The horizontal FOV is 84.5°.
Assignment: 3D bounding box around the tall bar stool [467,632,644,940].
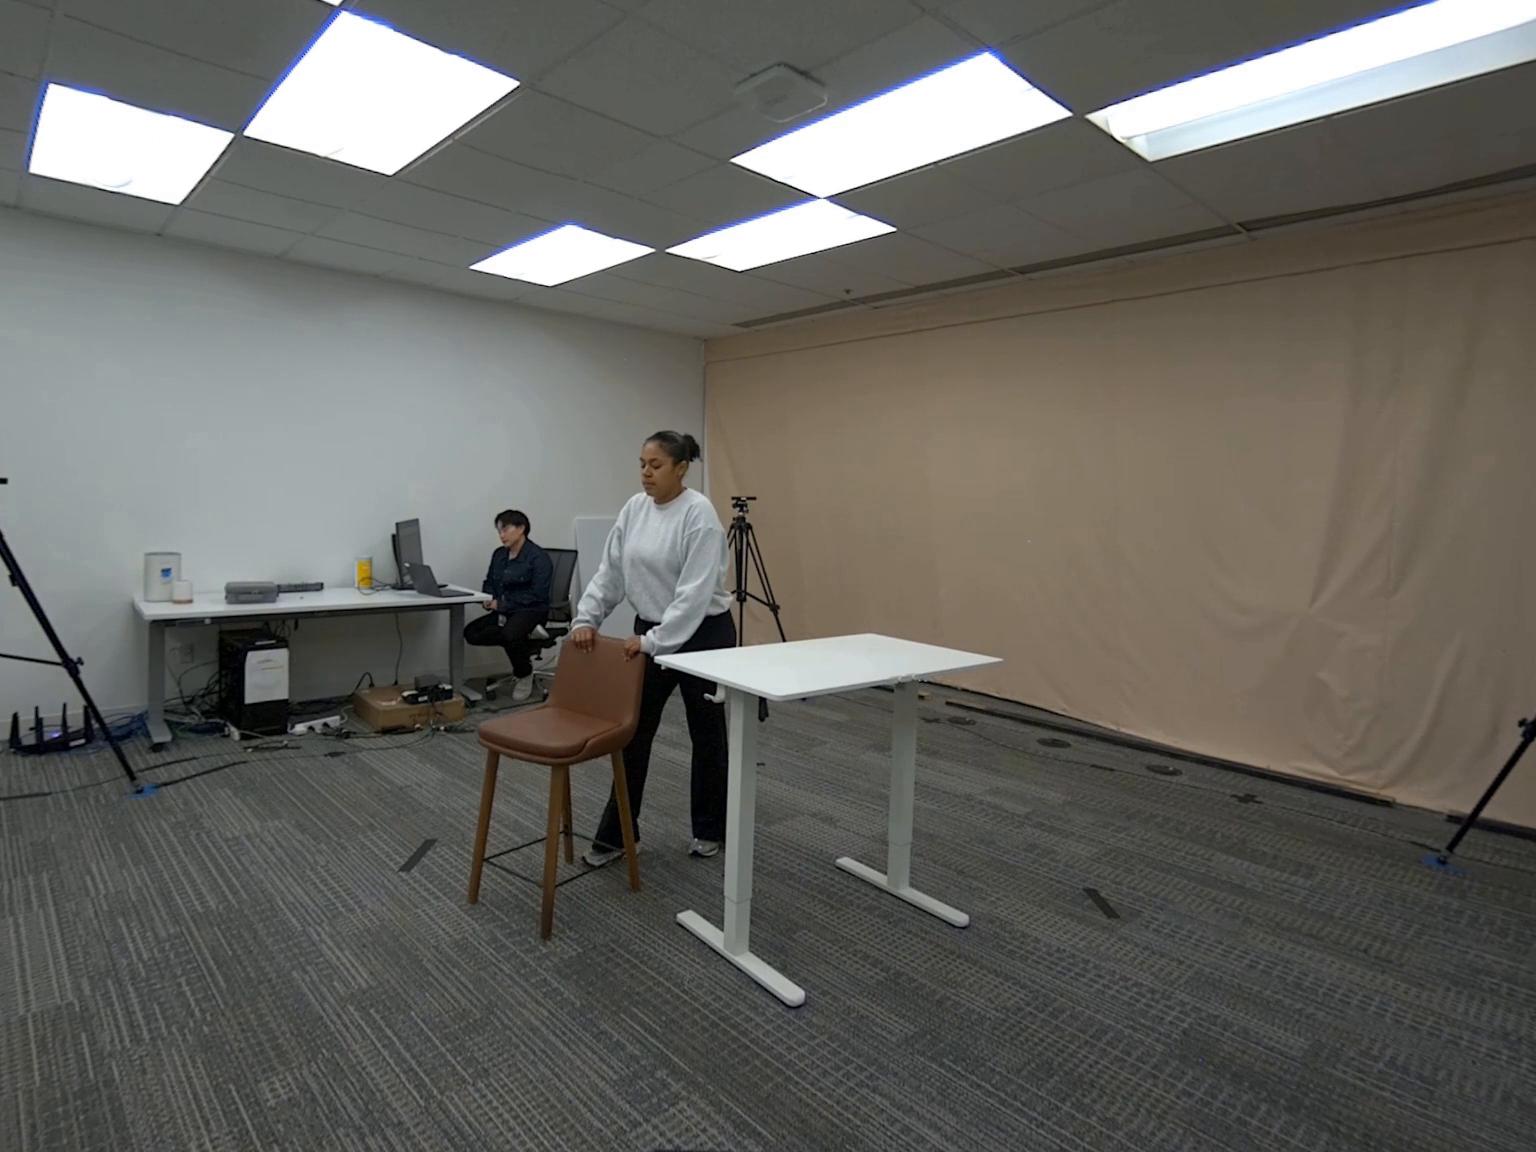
[{"bbox_3d":[-0.715,0.678,2.900,0.467,0.889,0.457,4,2,37],"label":"tall bar stool"}]
